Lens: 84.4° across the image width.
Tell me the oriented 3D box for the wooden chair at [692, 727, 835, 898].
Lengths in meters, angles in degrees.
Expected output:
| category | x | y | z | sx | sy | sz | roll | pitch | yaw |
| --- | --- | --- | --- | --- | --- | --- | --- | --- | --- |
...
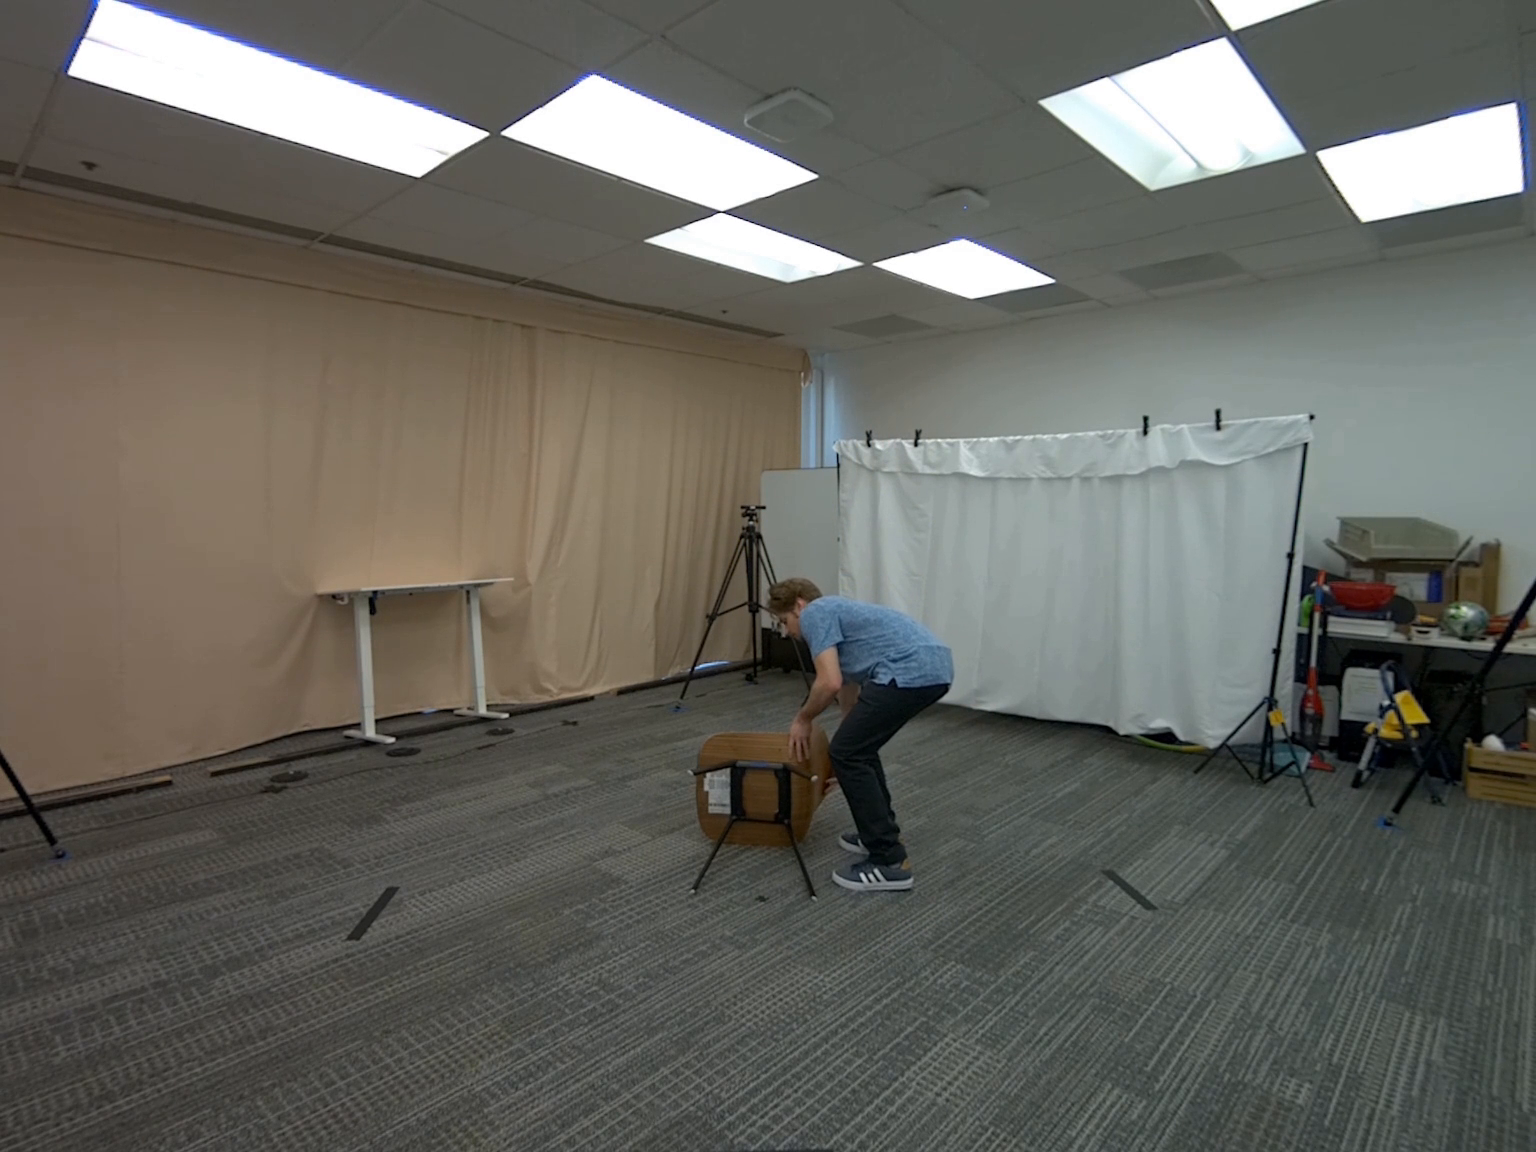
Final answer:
| category | x | y | z | sx | sy | sz | roll | pitch | yaw |
| --- | --- | --- | --- | --- | --- | --- | --- | --- | --- |
| wooden chair | -0.026 | 0.880 | 3.394 | 0.529 | 0.477 | 0.870 | -1 | 5 | 9 |
